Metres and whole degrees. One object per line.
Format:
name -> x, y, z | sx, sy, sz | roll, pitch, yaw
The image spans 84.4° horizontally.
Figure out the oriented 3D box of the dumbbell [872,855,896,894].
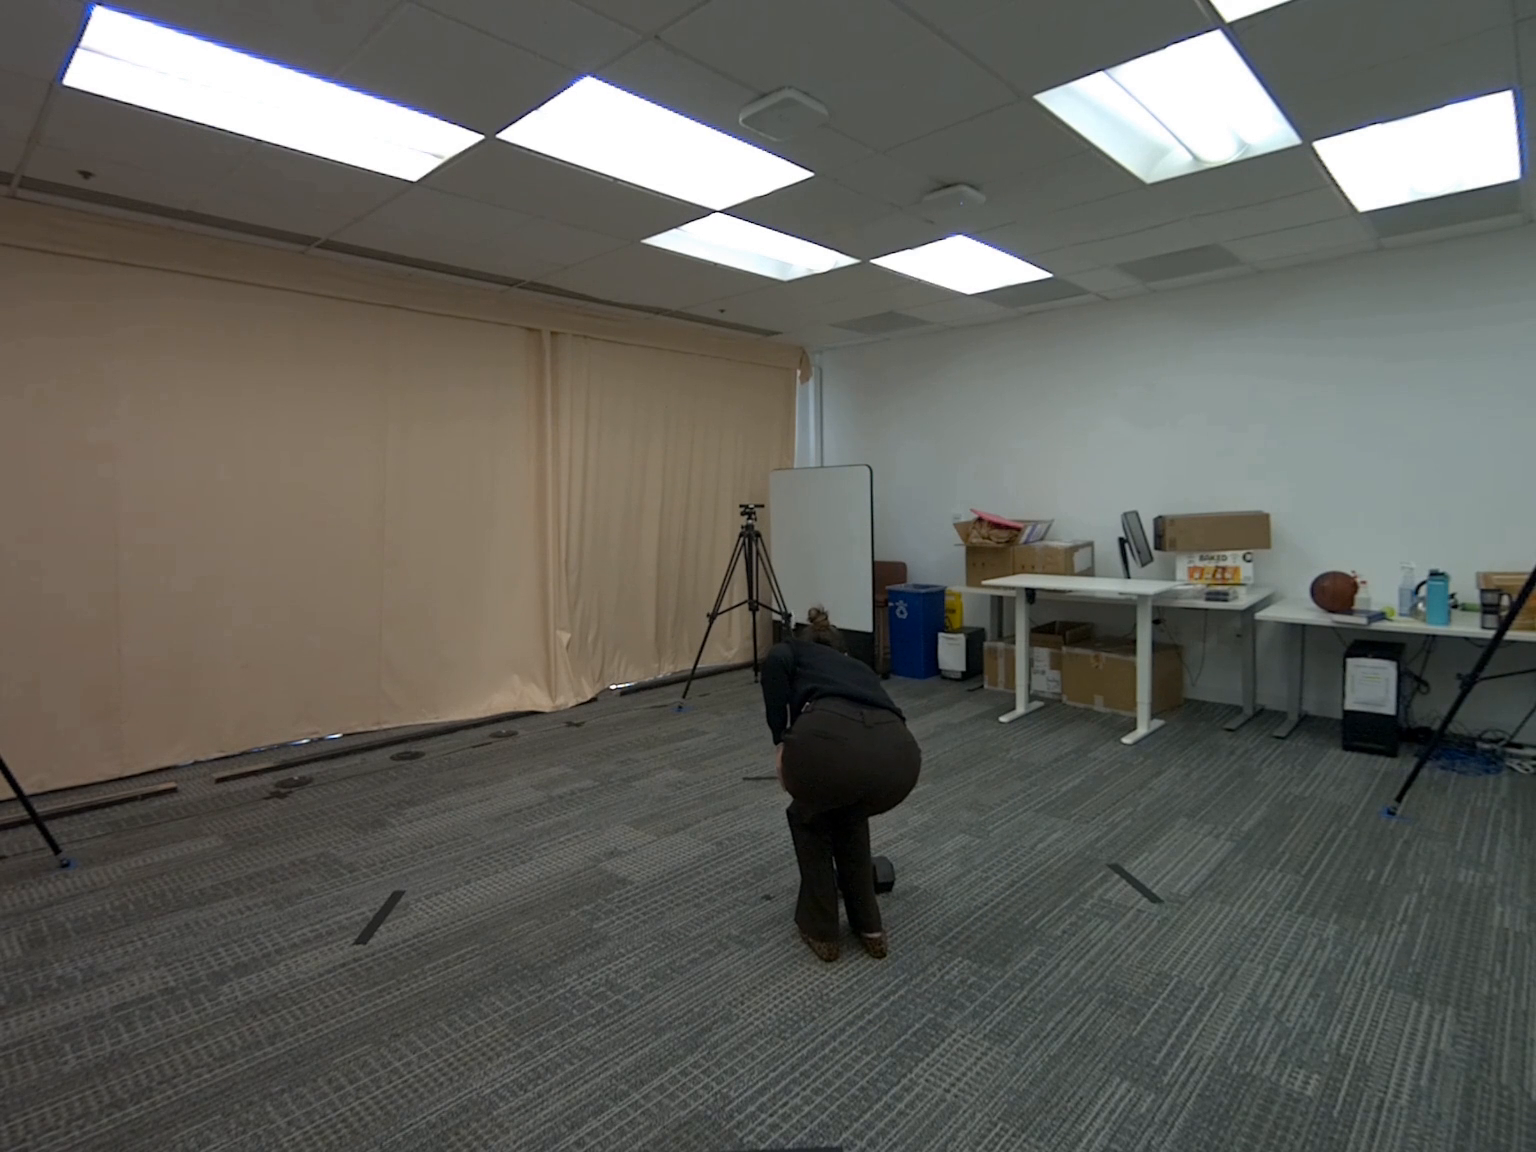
dumbbell -> 0.305, 1.074, 3.006 | 0.290, 0.125, 0.108 | -2, -27, -10
